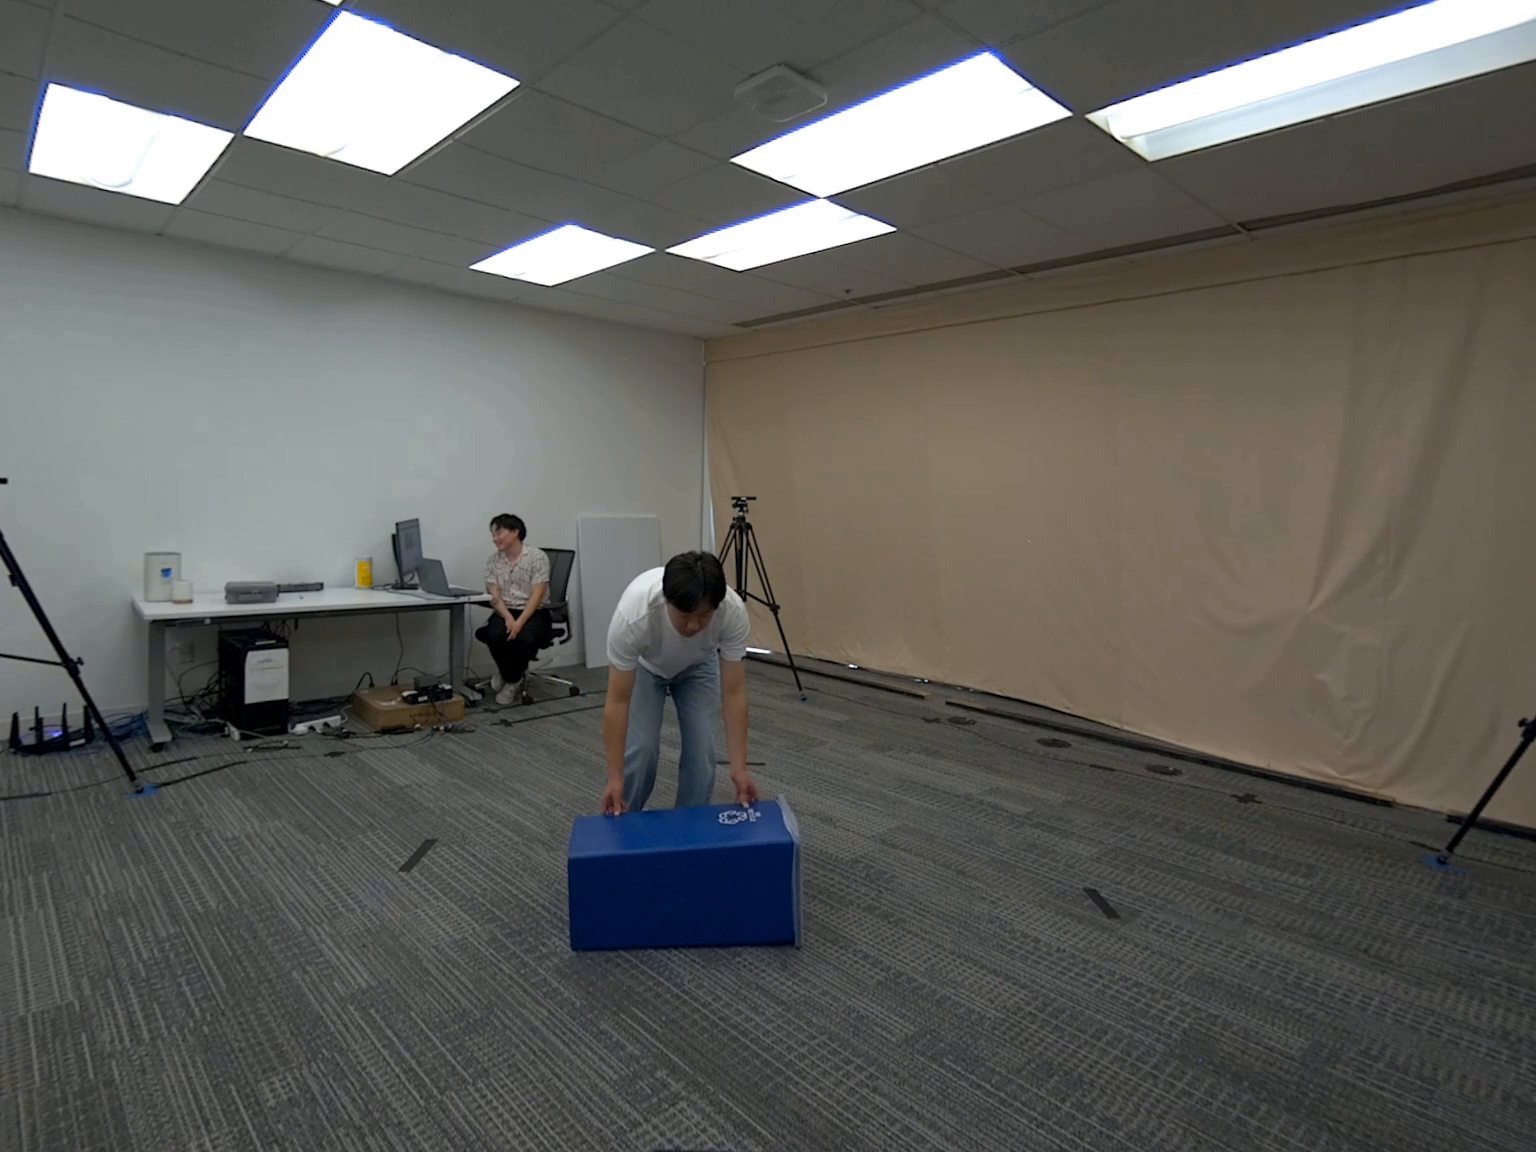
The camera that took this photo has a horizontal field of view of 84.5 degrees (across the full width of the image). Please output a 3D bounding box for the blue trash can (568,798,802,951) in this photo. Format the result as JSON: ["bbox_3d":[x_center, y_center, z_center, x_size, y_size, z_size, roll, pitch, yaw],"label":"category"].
[{"bbox_3d":[-0.271,0.970,2.714,0.710,0.376,0.377,-3,6,-7],"label":"blue trash can"}]
